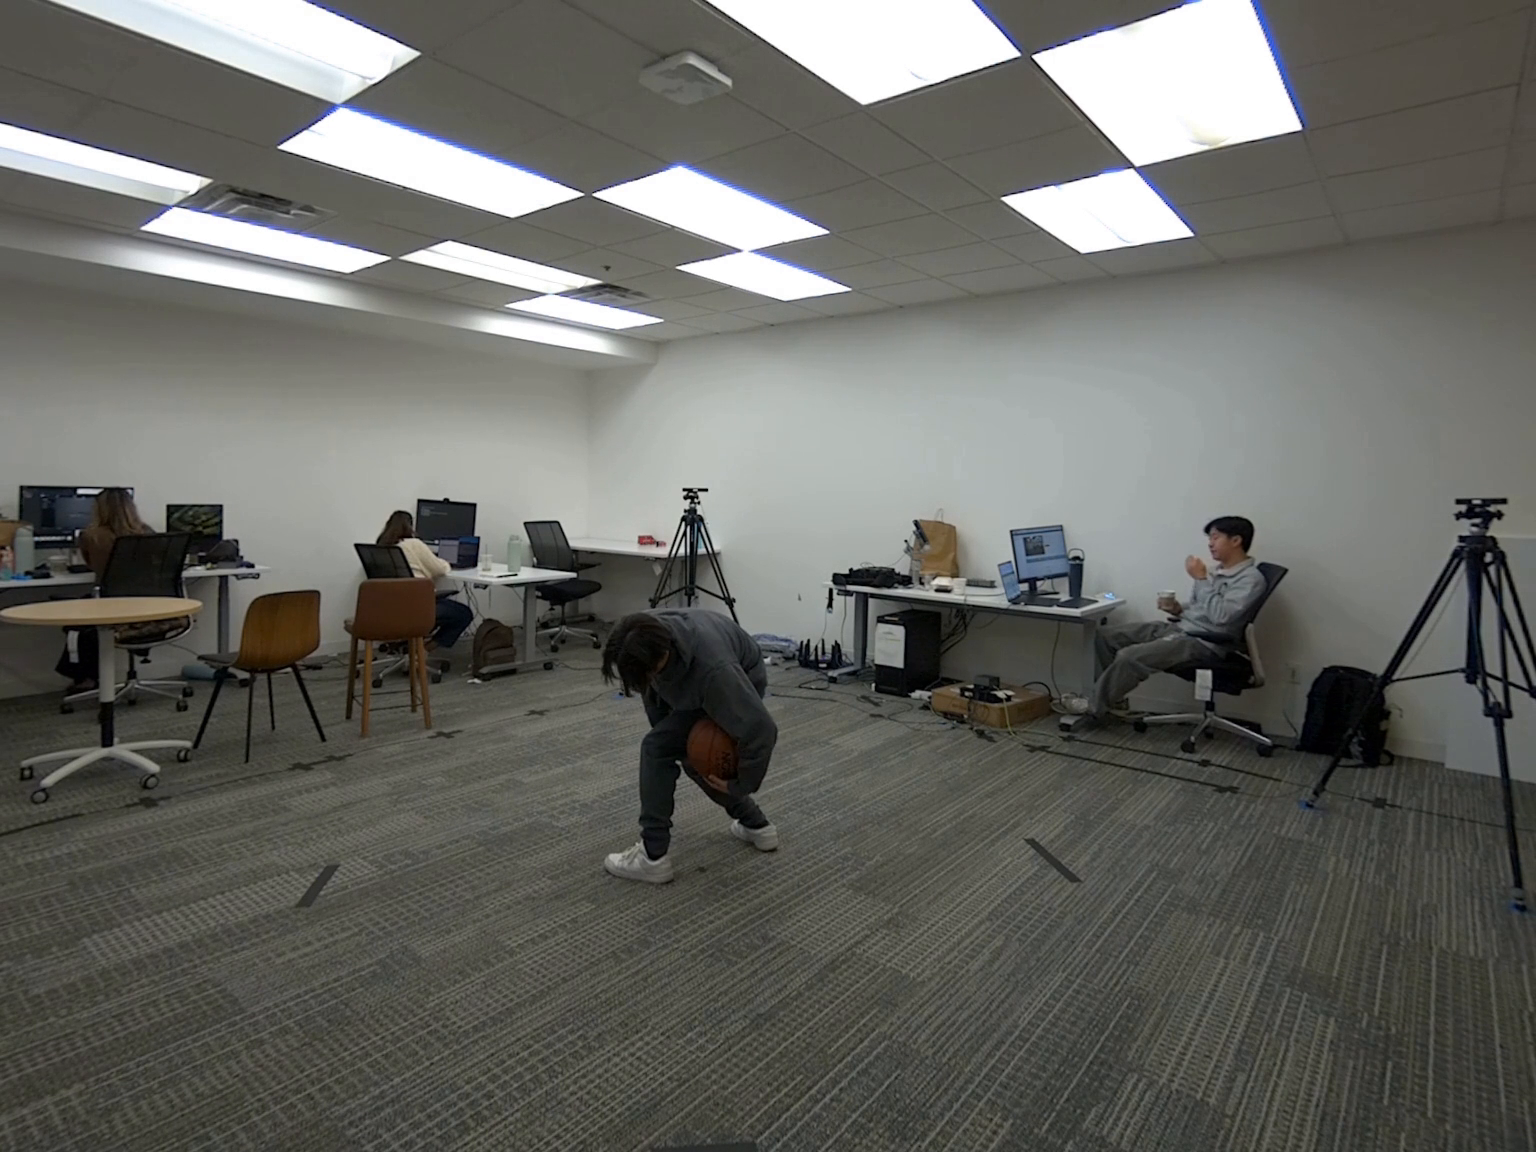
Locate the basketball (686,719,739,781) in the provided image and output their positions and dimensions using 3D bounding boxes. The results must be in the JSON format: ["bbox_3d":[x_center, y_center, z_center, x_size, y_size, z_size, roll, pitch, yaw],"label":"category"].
[{"bbox_3d":[-0.170,0.606,3.019,0.235,0.235,0.237,1,4,-2],"label":"basketball"}]
